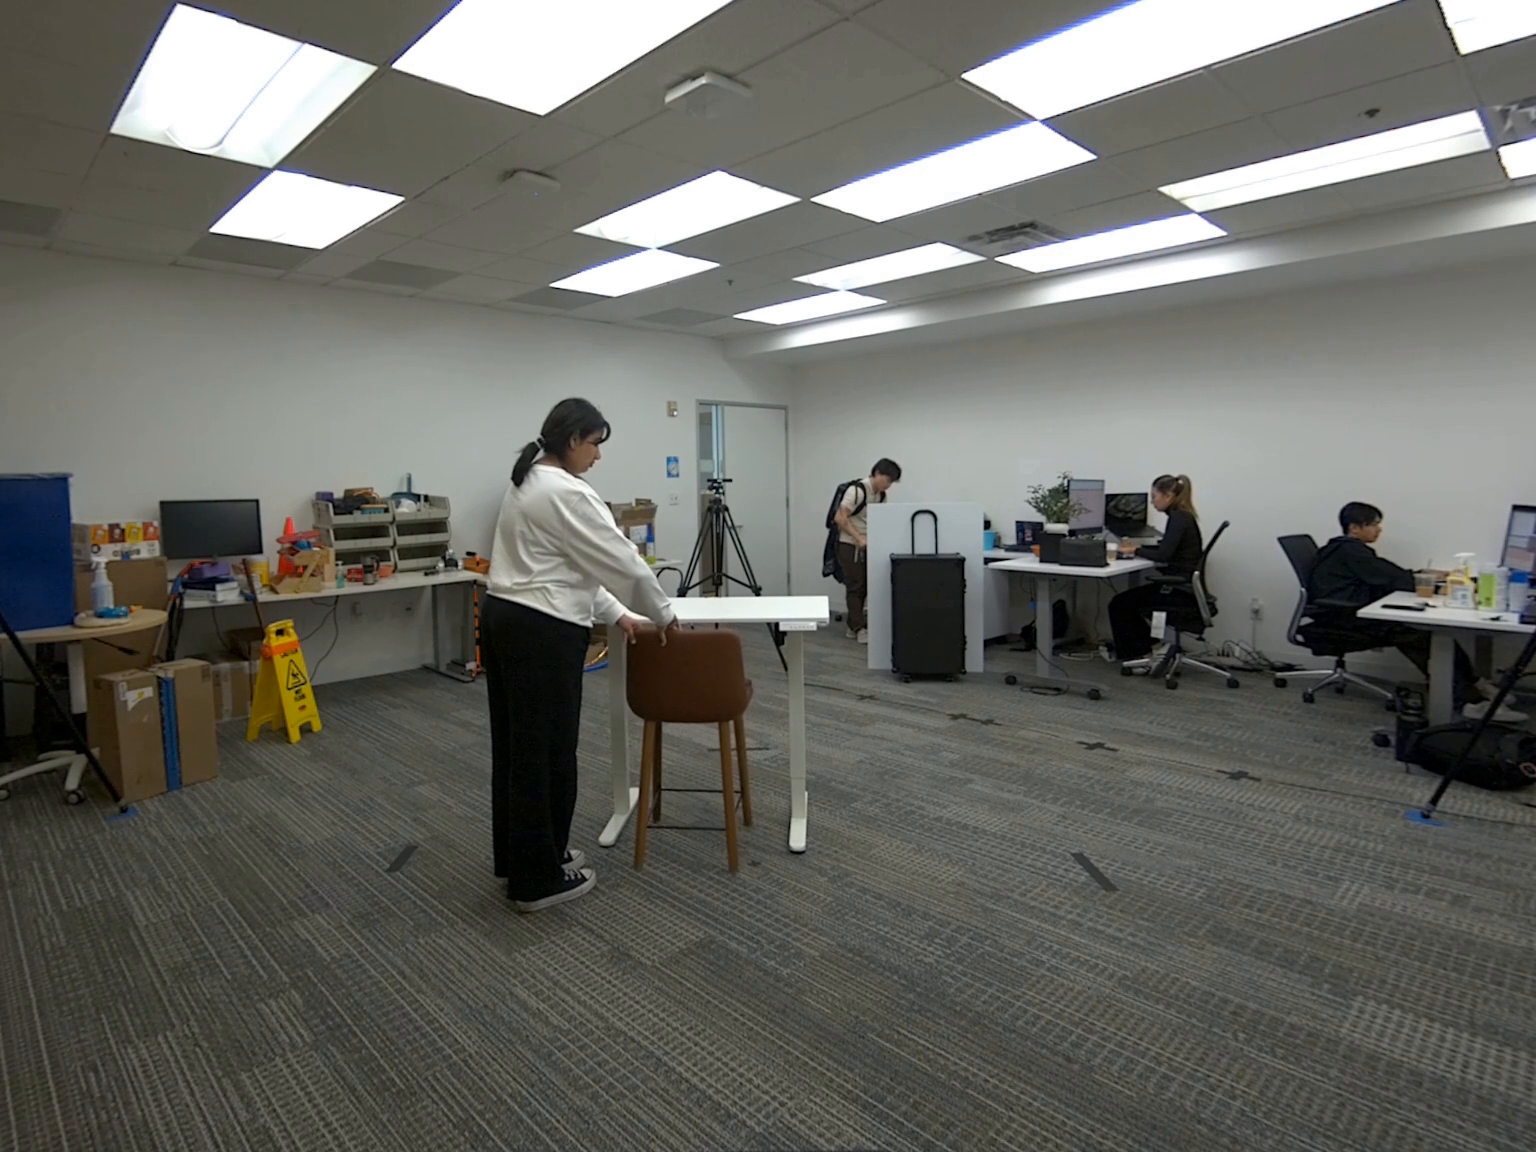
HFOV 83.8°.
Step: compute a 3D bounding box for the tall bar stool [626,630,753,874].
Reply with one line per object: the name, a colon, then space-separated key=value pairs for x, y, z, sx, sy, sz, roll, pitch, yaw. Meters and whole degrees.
tall bar stool: x=-0.292 y=0.601 z=3.244 sx=0.459 sy=0.886 sz=0.467 roll=-1 pitch=5 yaw=5
